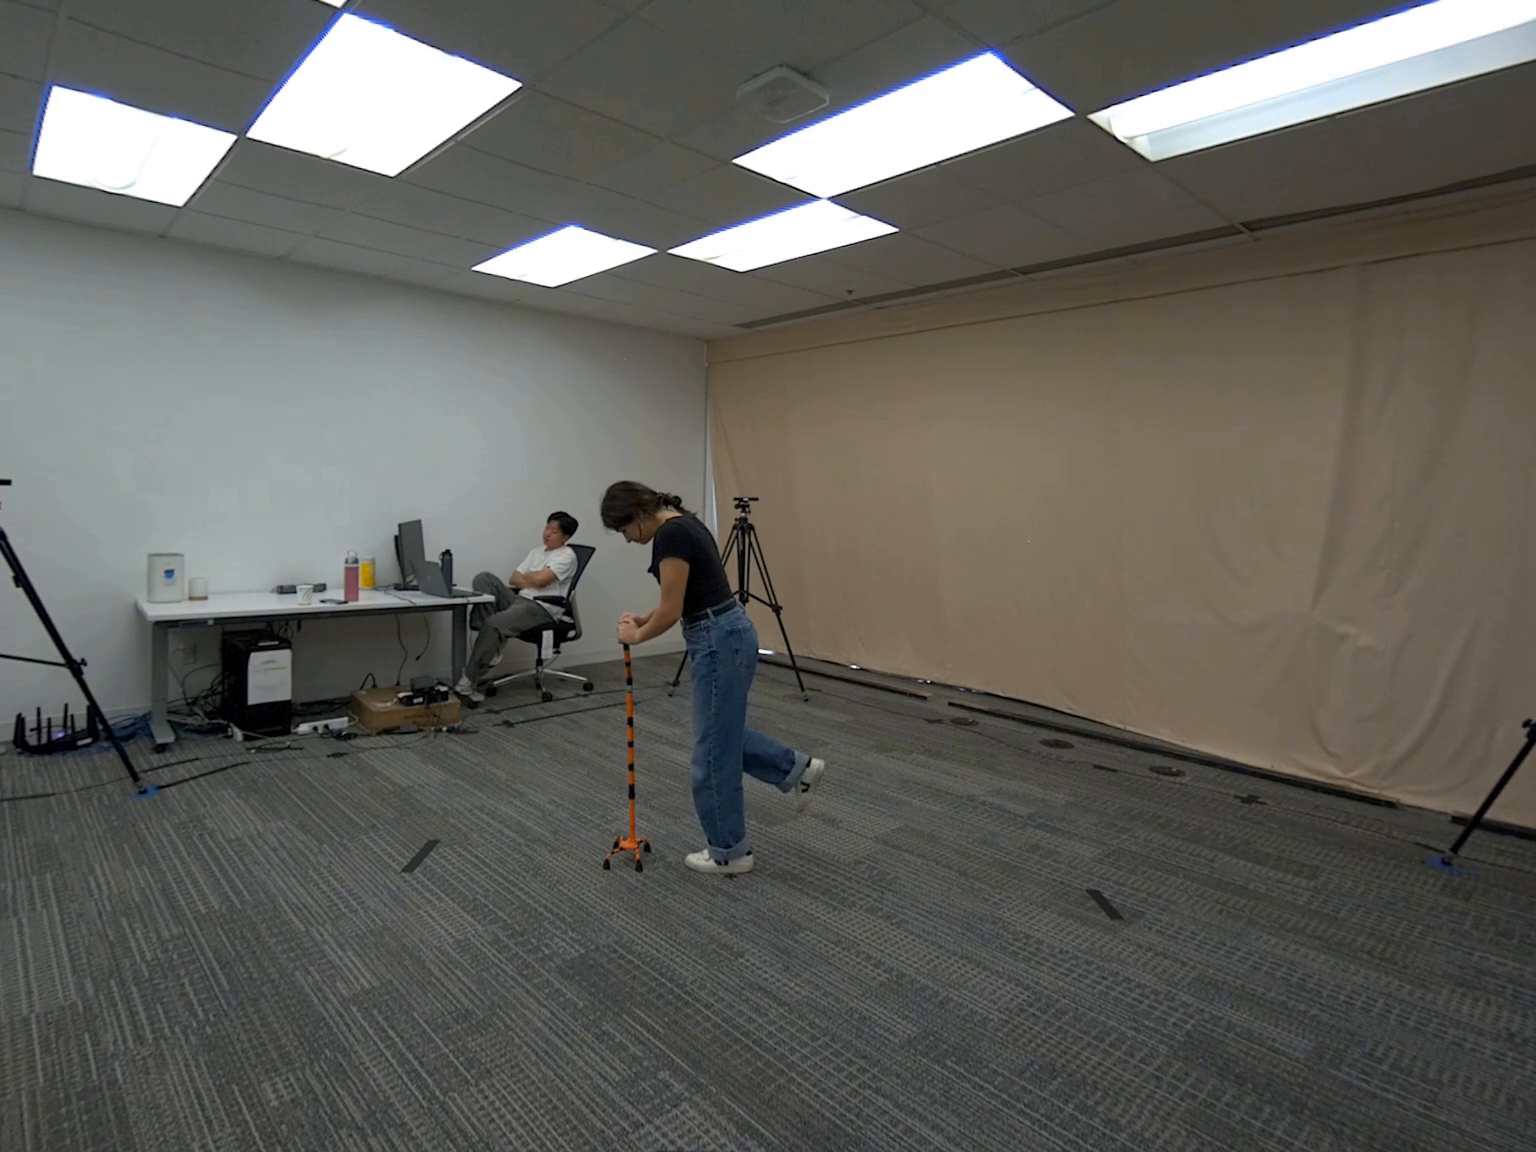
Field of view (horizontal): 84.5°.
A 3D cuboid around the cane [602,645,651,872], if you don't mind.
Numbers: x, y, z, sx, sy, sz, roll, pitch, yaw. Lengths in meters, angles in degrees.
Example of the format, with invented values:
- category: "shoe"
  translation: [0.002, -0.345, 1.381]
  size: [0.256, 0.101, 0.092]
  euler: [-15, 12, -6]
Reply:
- category: "cane"
  translation: [-0.544, 0.628, 3.209]
  size: [0.152, 0.906, 0.206]
  euler: [0, 3, 3]
